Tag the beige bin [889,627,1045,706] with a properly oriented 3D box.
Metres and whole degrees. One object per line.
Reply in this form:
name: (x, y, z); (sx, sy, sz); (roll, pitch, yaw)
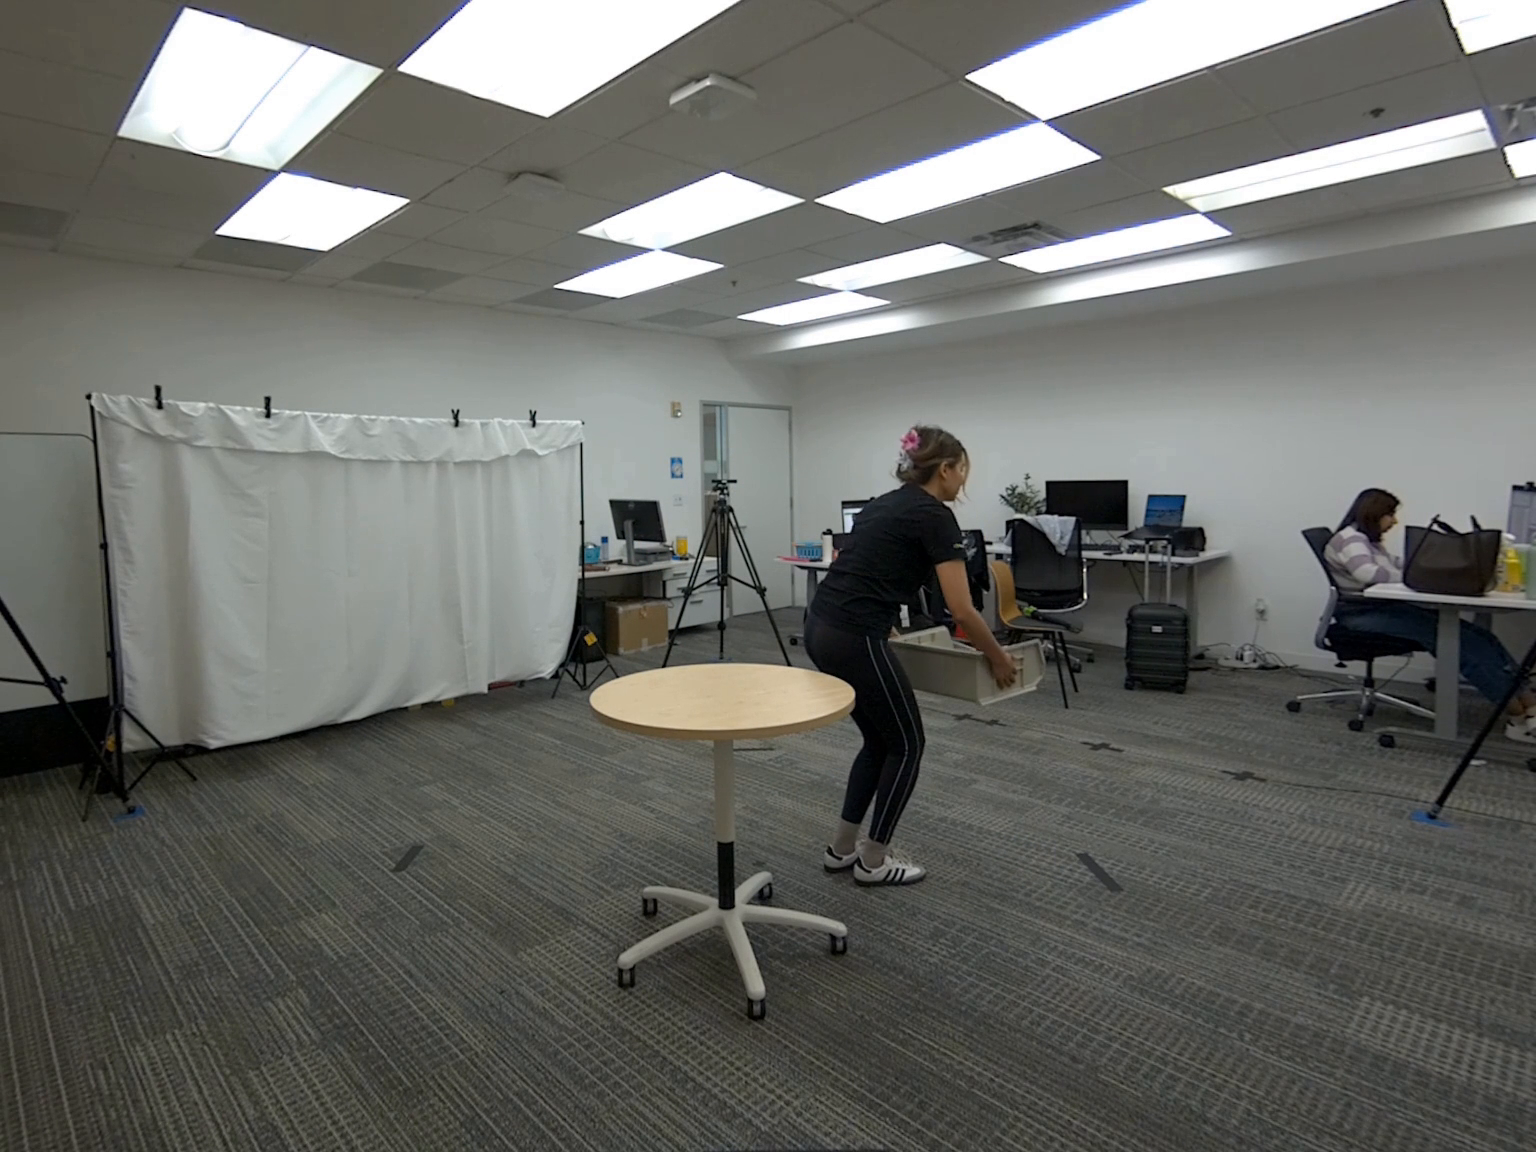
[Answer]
beige bin: (0.717, 0.321, 3.126); (0.368, 0.188, 0.435); (-9, 9, -38)
